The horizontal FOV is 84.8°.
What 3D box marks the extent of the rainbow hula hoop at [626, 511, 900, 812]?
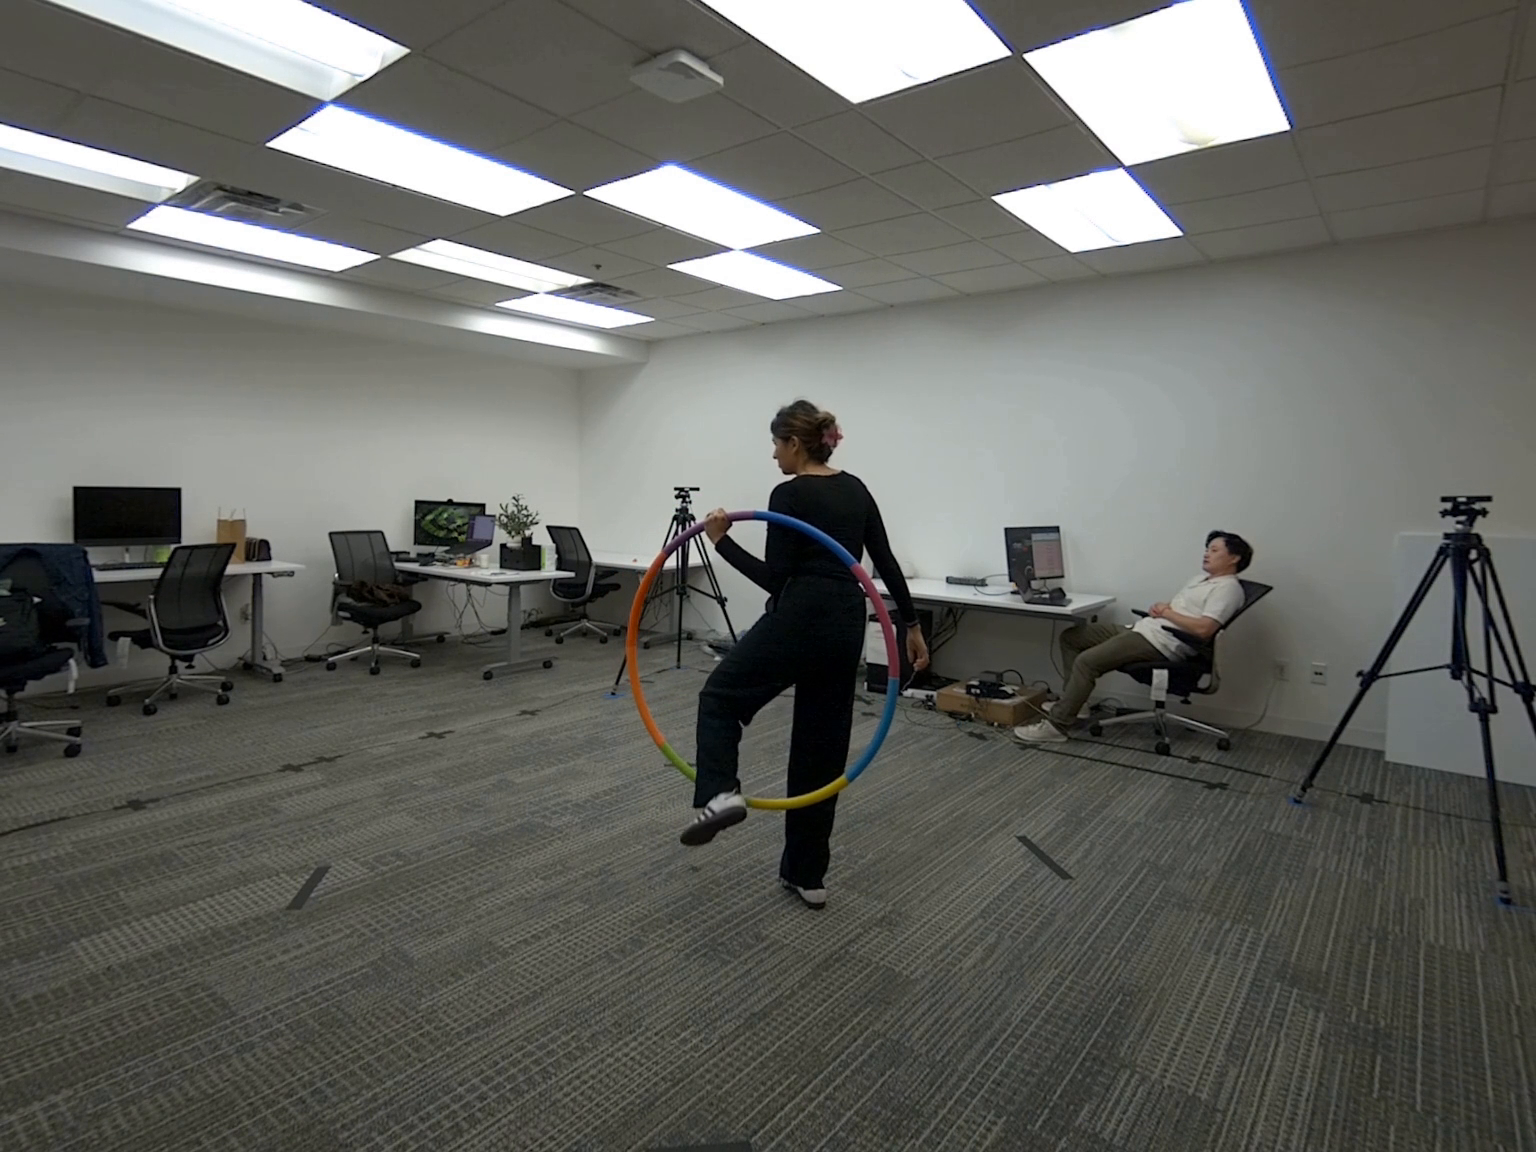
[{"bbox_3d":[-0.061,0.272,2.821,1.004,0.976,0.035,3,3,25],"label":"rainbow hula hoop"}]
